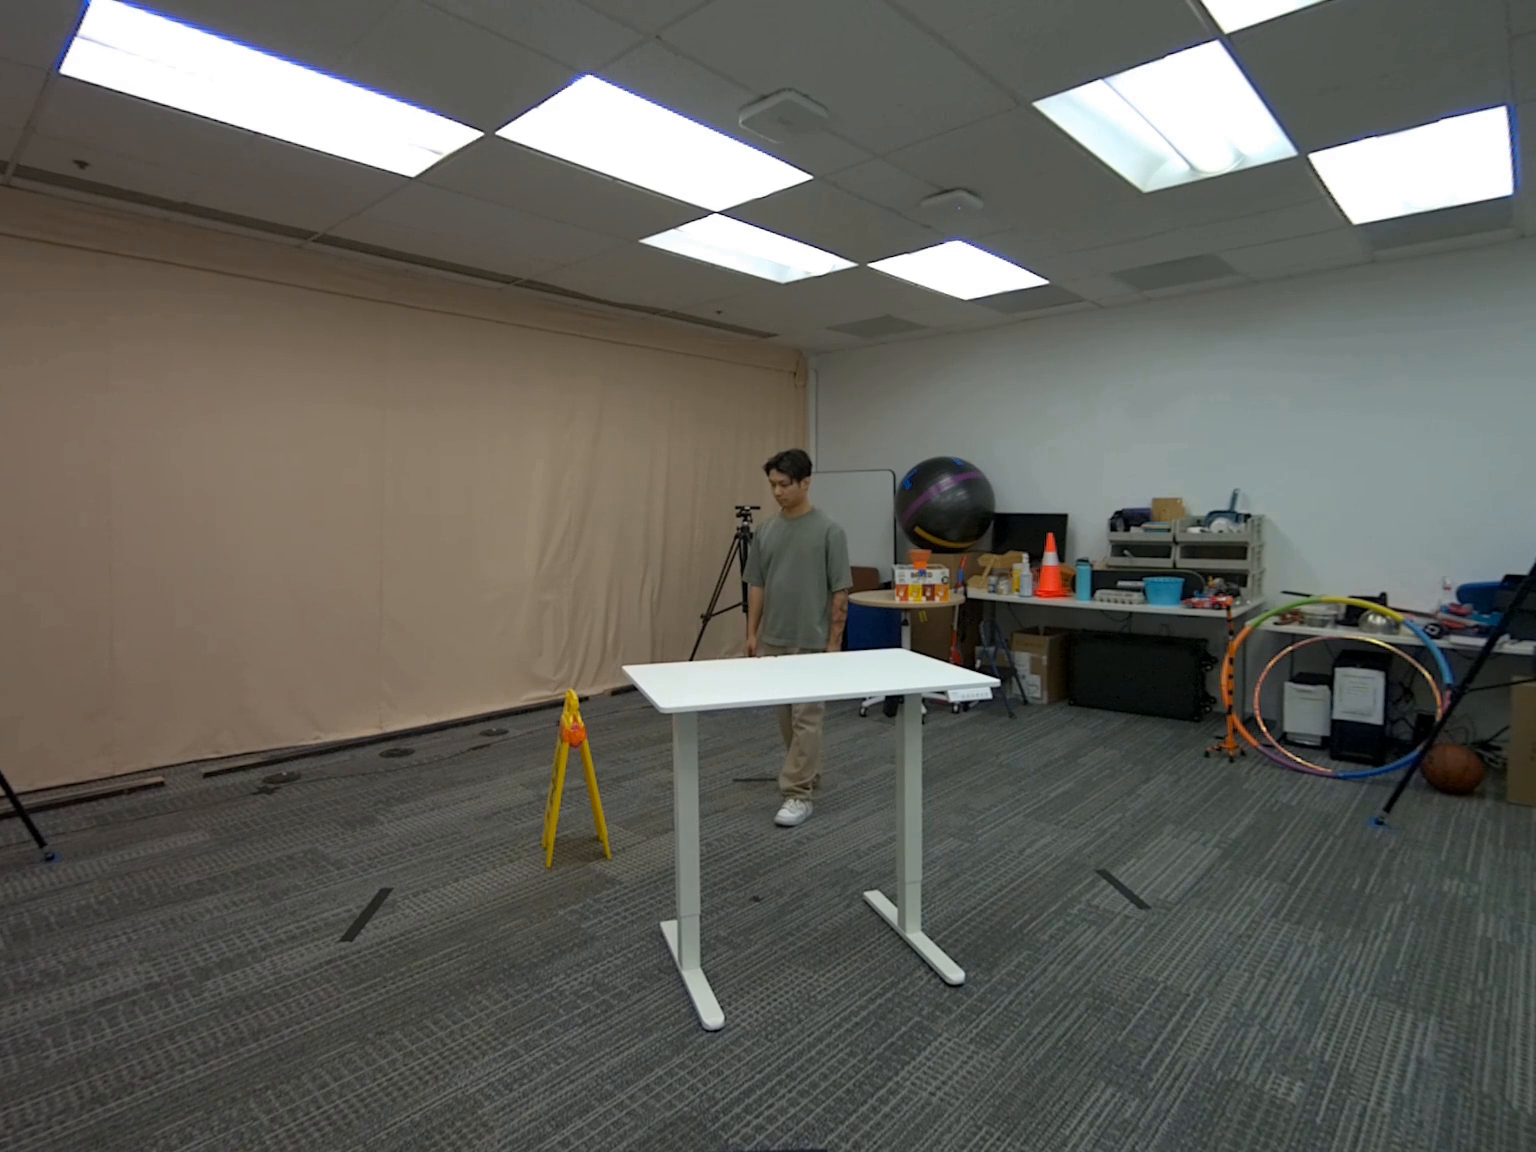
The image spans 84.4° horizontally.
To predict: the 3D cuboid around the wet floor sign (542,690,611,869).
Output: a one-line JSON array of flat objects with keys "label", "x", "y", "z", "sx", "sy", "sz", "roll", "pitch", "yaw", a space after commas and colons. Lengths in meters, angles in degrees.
[{"label": "wet floor sign", "x": -0.788, "y": 0.790, "z": 3.395, "sx": 0.285, "sy": 0.645, "sz": 0.288, "roll": -2, "pitch": 2, "yaw": -18}]
